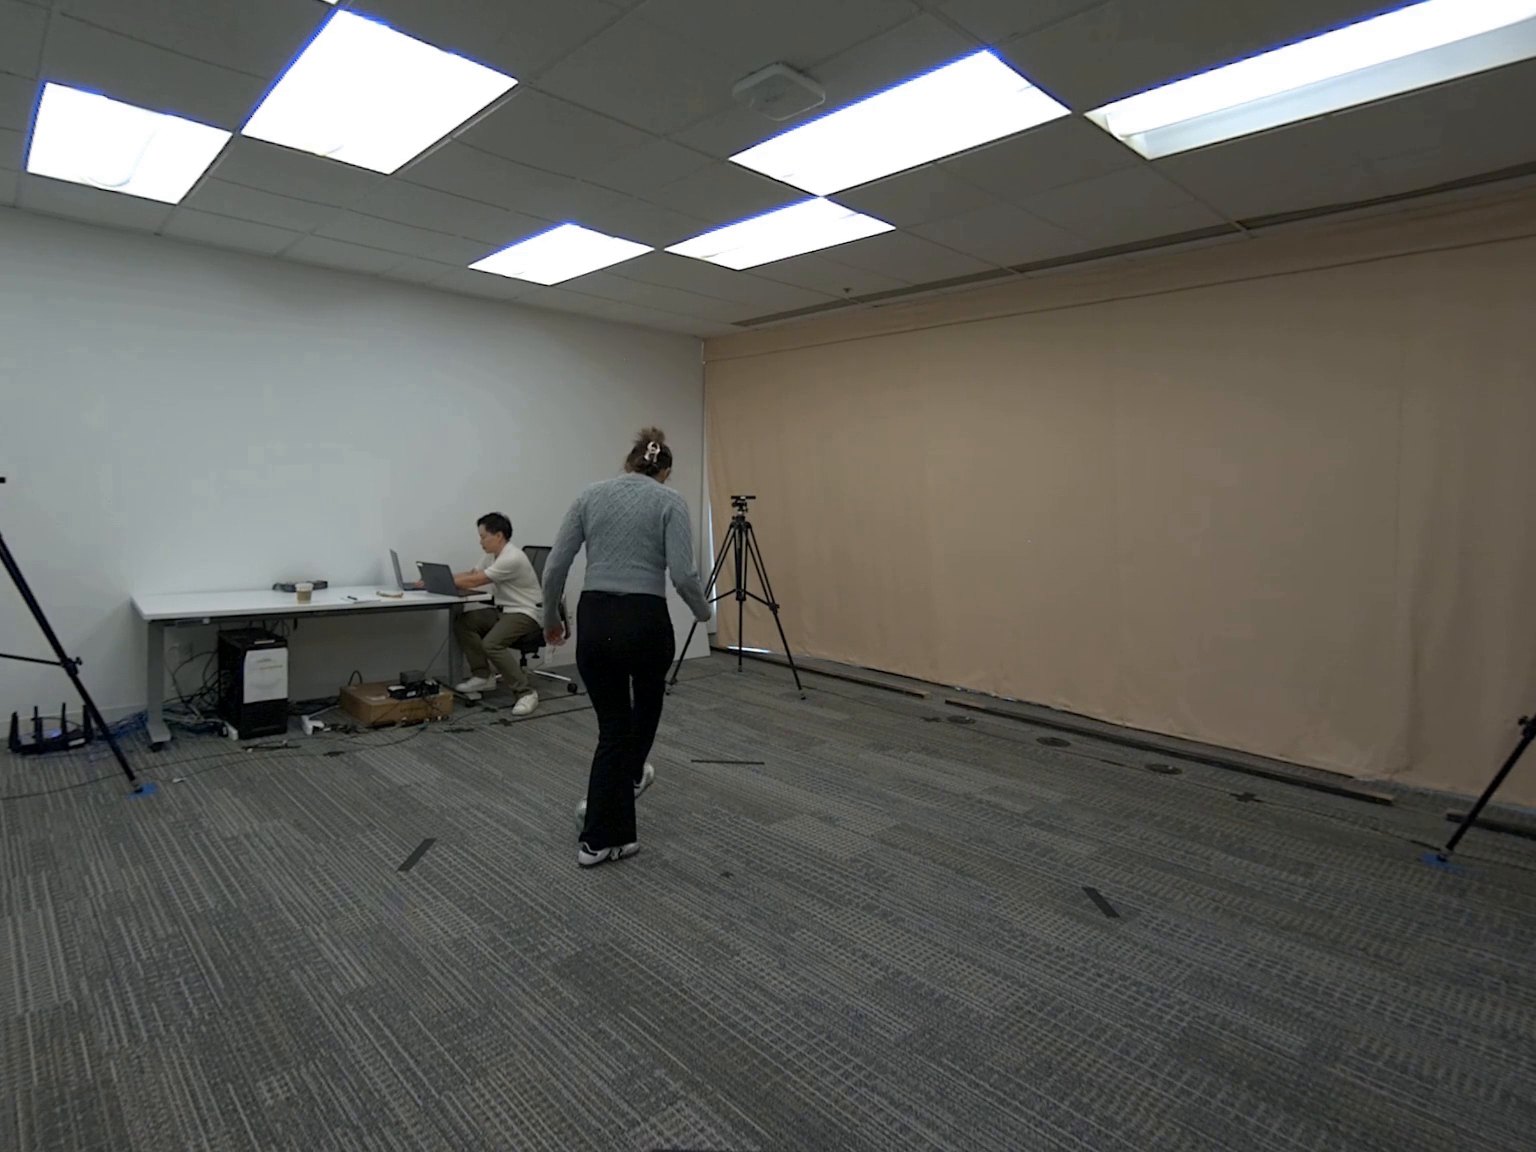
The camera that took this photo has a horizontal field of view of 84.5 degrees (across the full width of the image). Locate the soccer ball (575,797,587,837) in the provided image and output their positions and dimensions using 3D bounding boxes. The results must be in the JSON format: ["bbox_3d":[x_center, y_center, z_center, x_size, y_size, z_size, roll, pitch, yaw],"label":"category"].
[{"bbox_3d":[-0.689,0.969,3.417,0.187,0.187,0.188,1,4,-1],"label":"soccer ball"}]
